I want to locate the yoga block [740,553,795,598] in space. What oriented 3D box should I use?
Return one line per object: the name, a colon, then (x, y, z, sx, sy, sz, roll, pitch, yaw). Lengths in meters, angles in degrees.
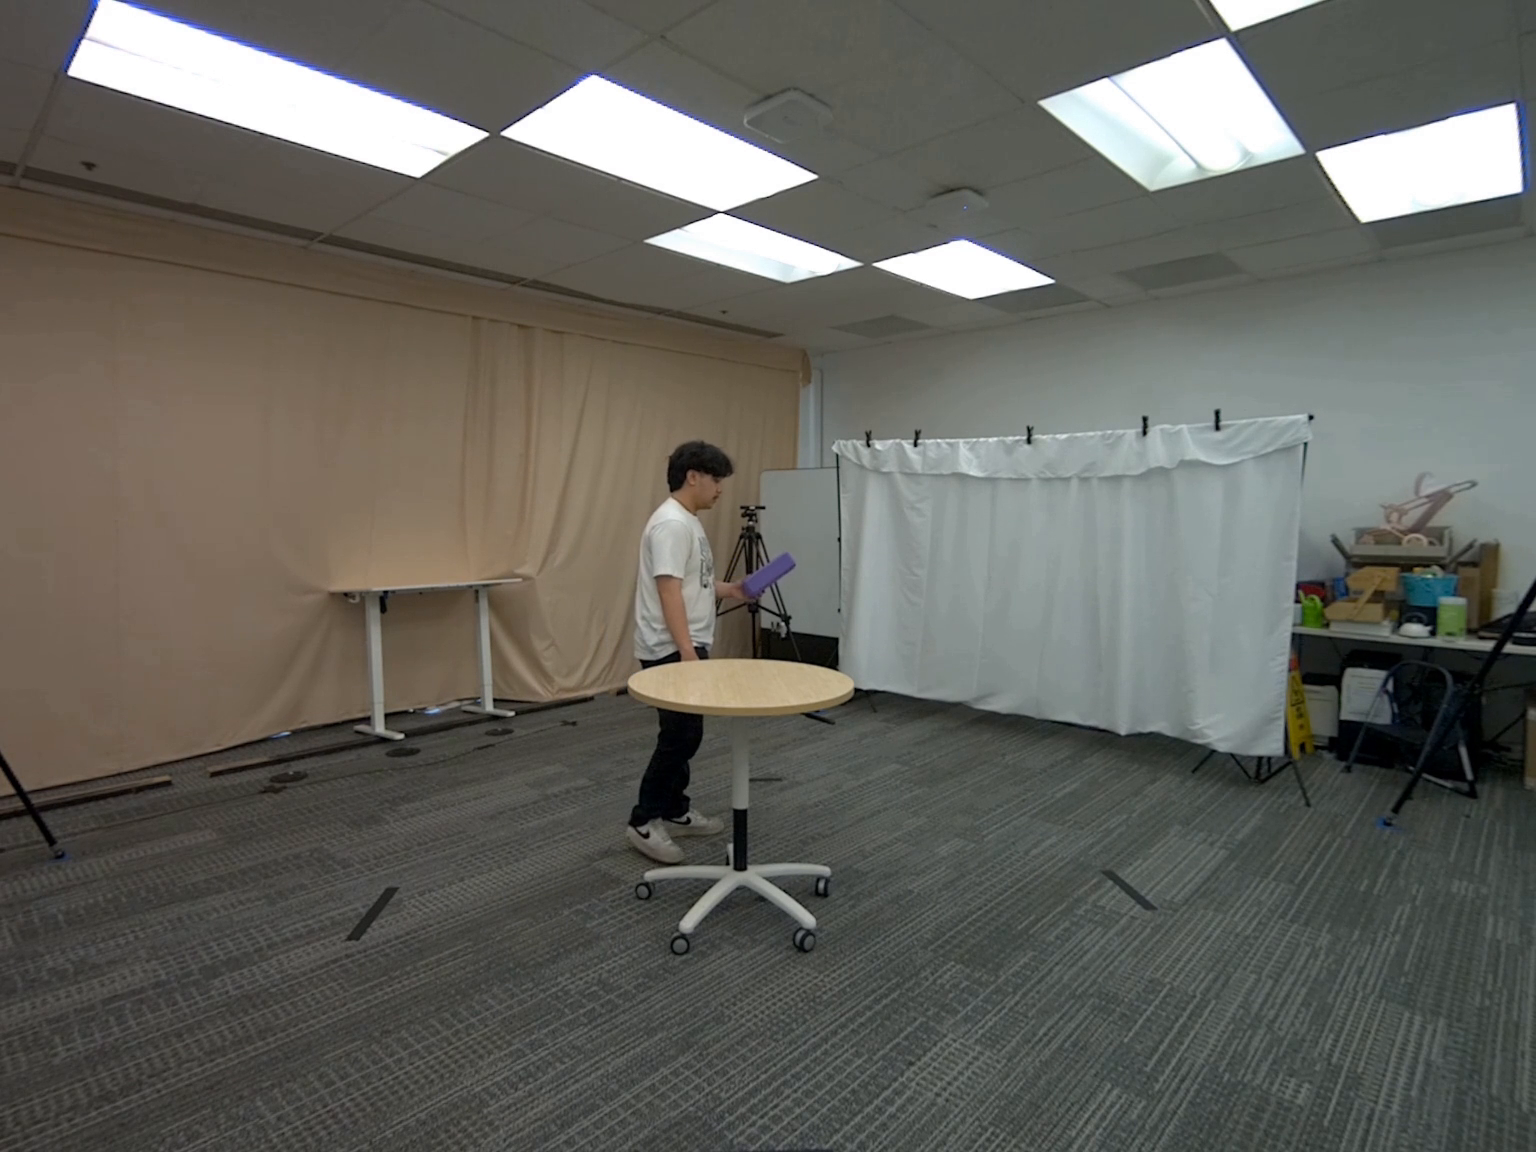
yoga block: (0.001, -0.003, 3.537, 0.228, 0.077, 0.149, -34, -2, -7)
